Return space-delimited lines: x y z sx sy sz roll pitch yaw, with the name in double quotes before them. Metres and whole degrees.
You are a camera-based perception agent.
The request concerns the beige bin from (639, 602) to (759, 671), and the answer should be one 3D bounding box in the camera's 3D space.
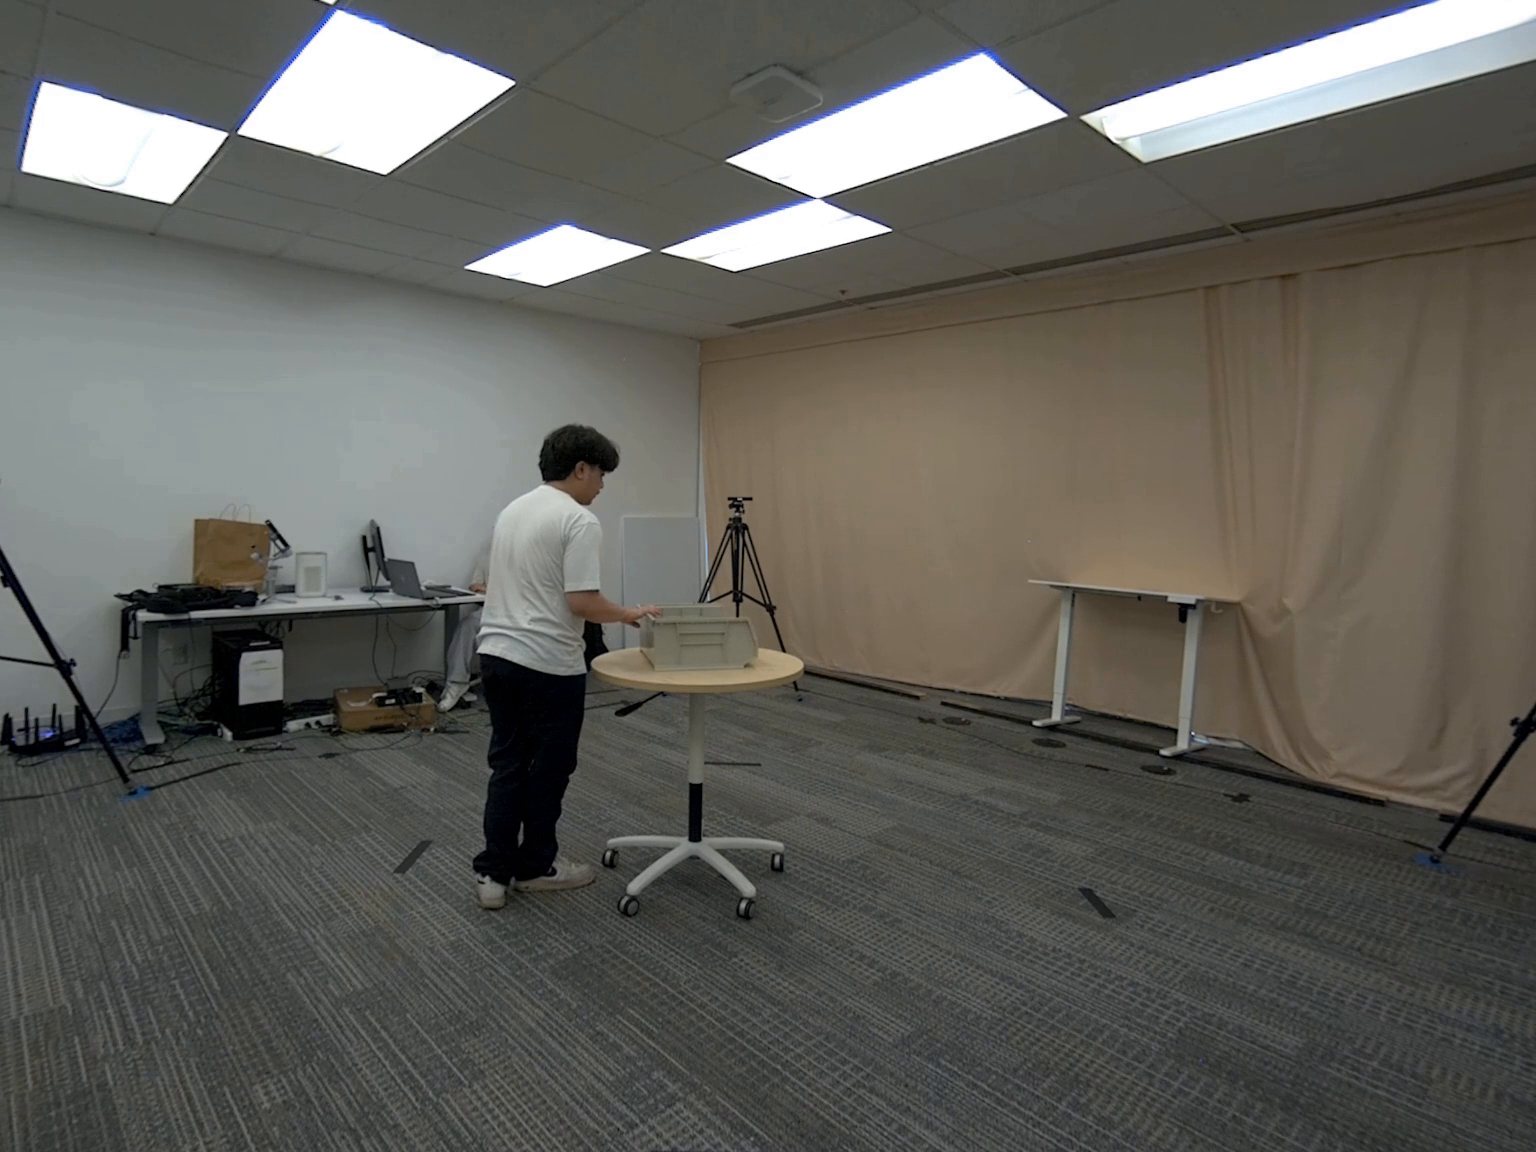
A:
"beige bin" -0.275 0.221 3.100 0.373 0.188 0.428 0 5 -15
